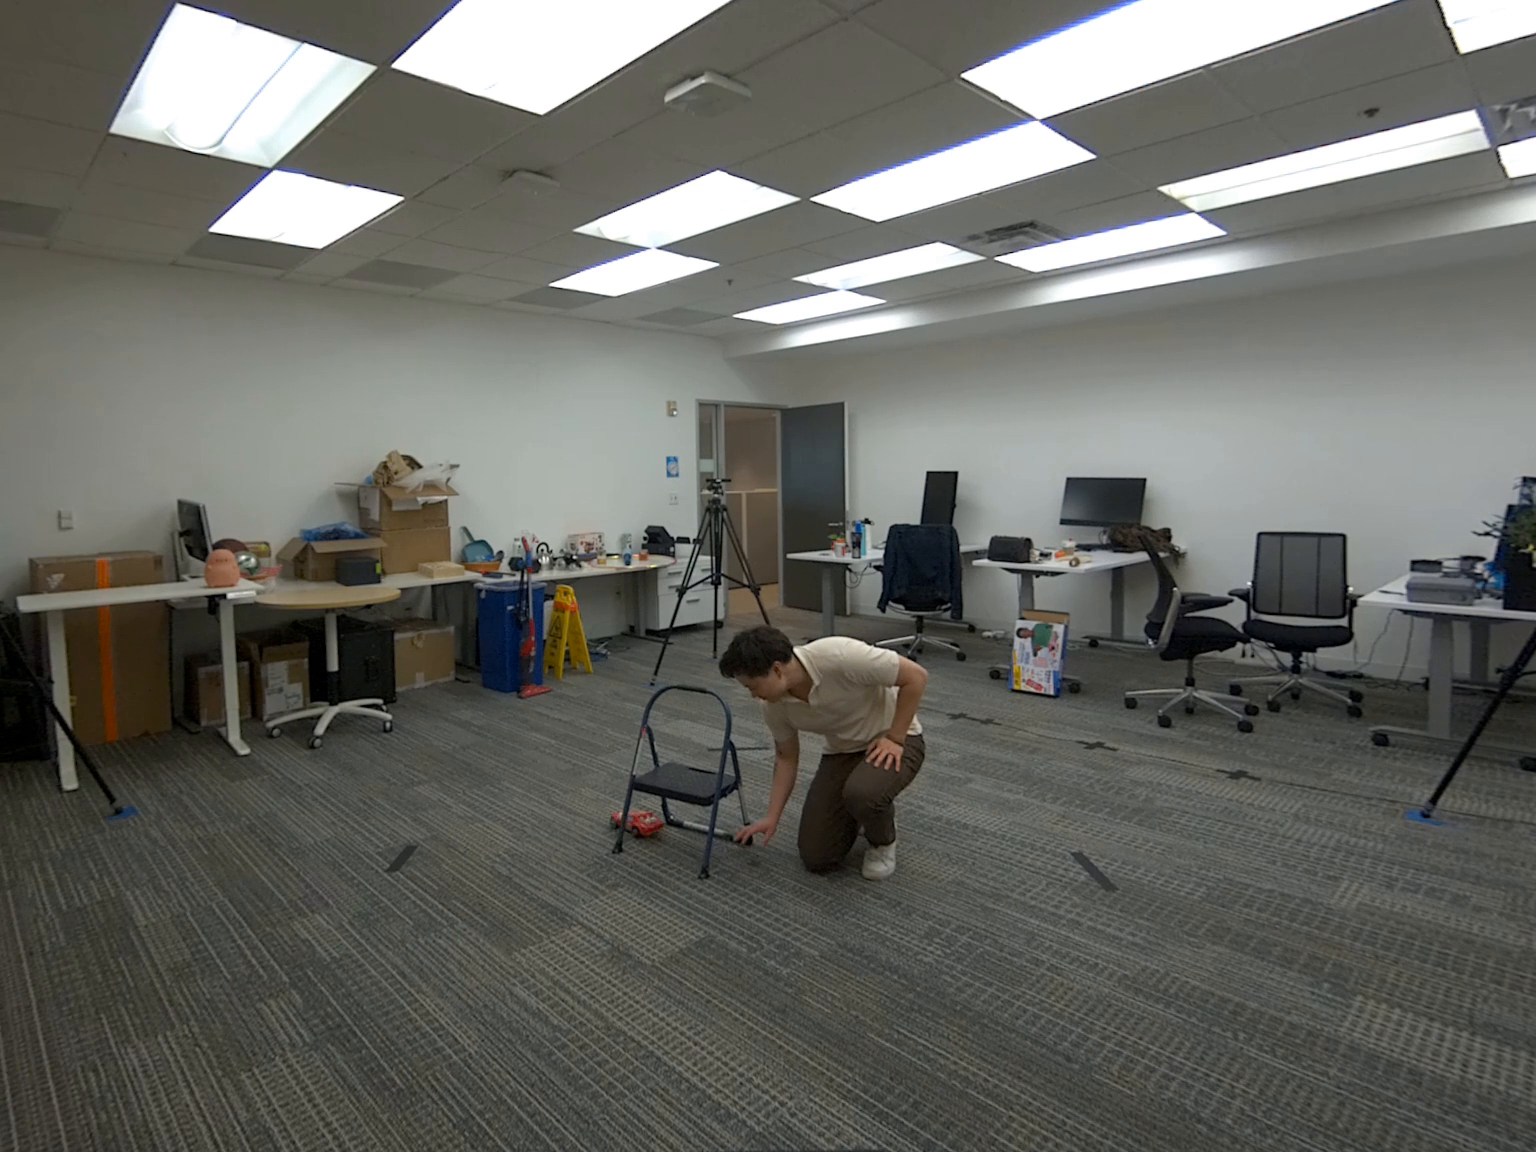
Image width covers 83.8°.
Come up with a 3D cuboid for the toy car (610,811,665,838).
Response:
[{"bbox_3d":[-0.508,0.988,3.406,0.127,0.083,0.260,-6,-2,-44],"label":"toy car"}]
